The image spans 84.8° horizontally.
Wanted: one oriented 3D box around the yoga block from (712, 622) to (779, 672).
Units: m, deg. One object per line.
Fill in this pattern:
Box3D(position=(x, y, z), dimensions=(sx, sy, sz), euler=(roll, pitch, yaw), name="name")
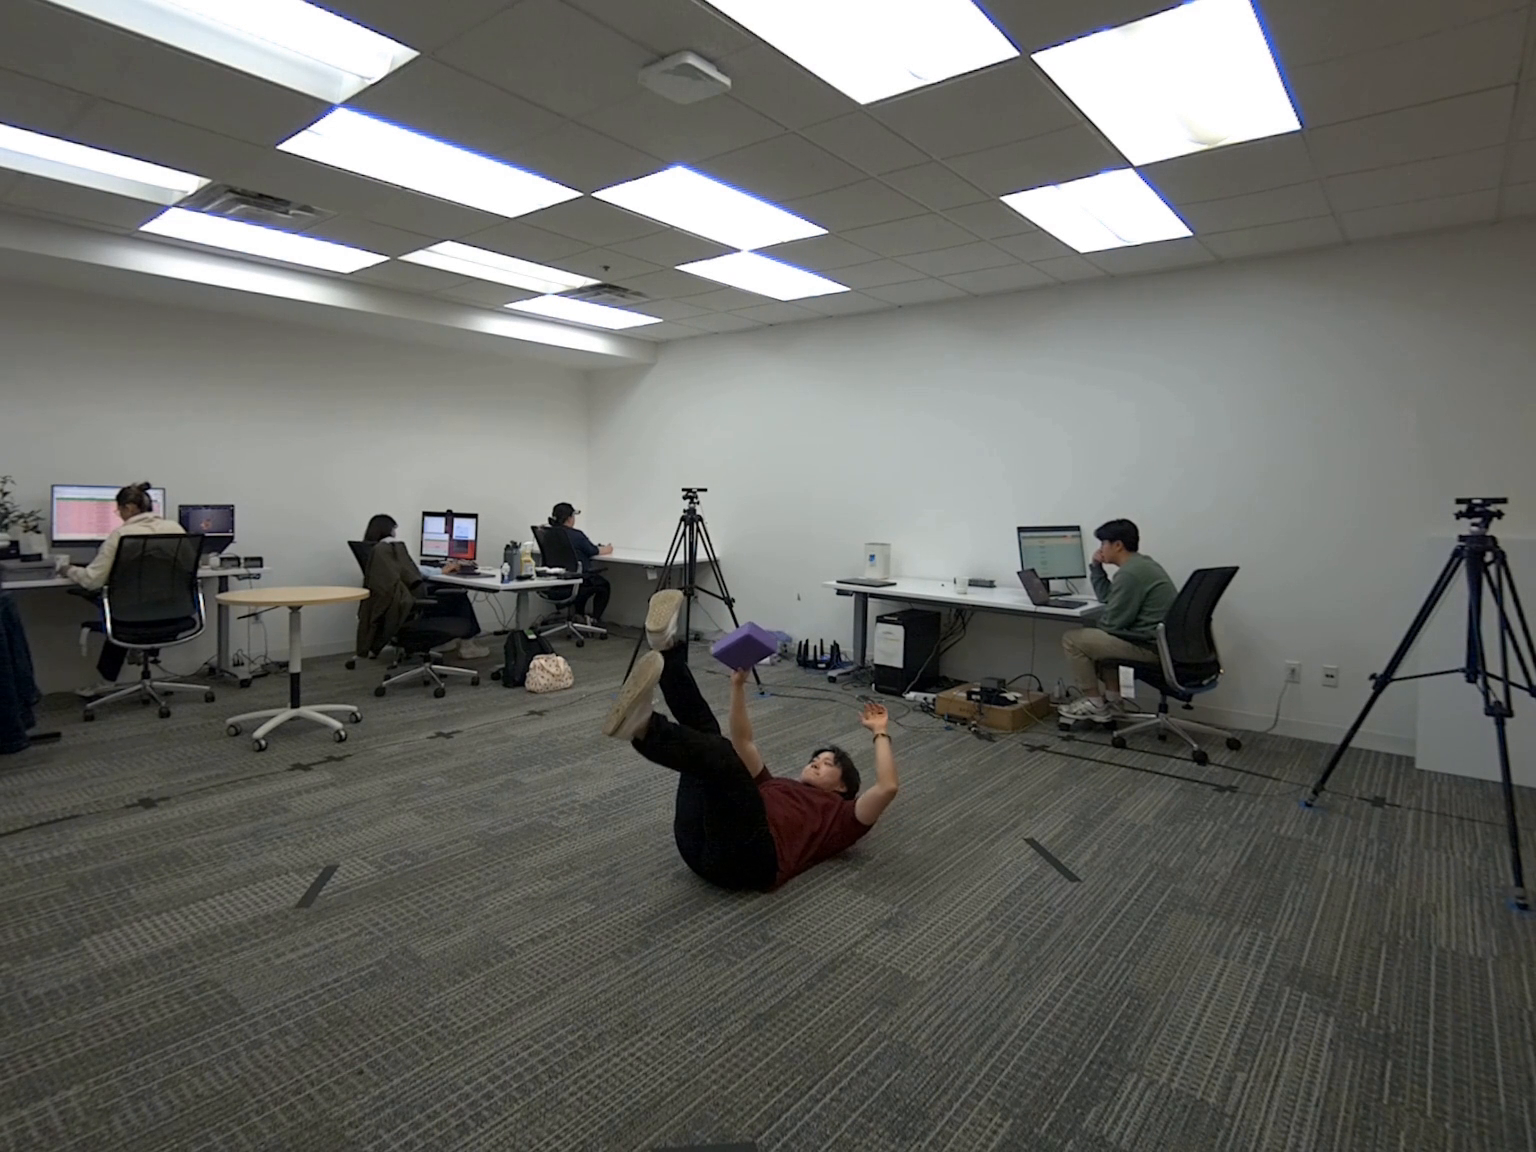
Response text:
Box3D(position=(-0.103, 0.276, 3.323), dimensions=(0.145, 0.078, 0.231), euler=(37, -47, -23), name="yoga block")
